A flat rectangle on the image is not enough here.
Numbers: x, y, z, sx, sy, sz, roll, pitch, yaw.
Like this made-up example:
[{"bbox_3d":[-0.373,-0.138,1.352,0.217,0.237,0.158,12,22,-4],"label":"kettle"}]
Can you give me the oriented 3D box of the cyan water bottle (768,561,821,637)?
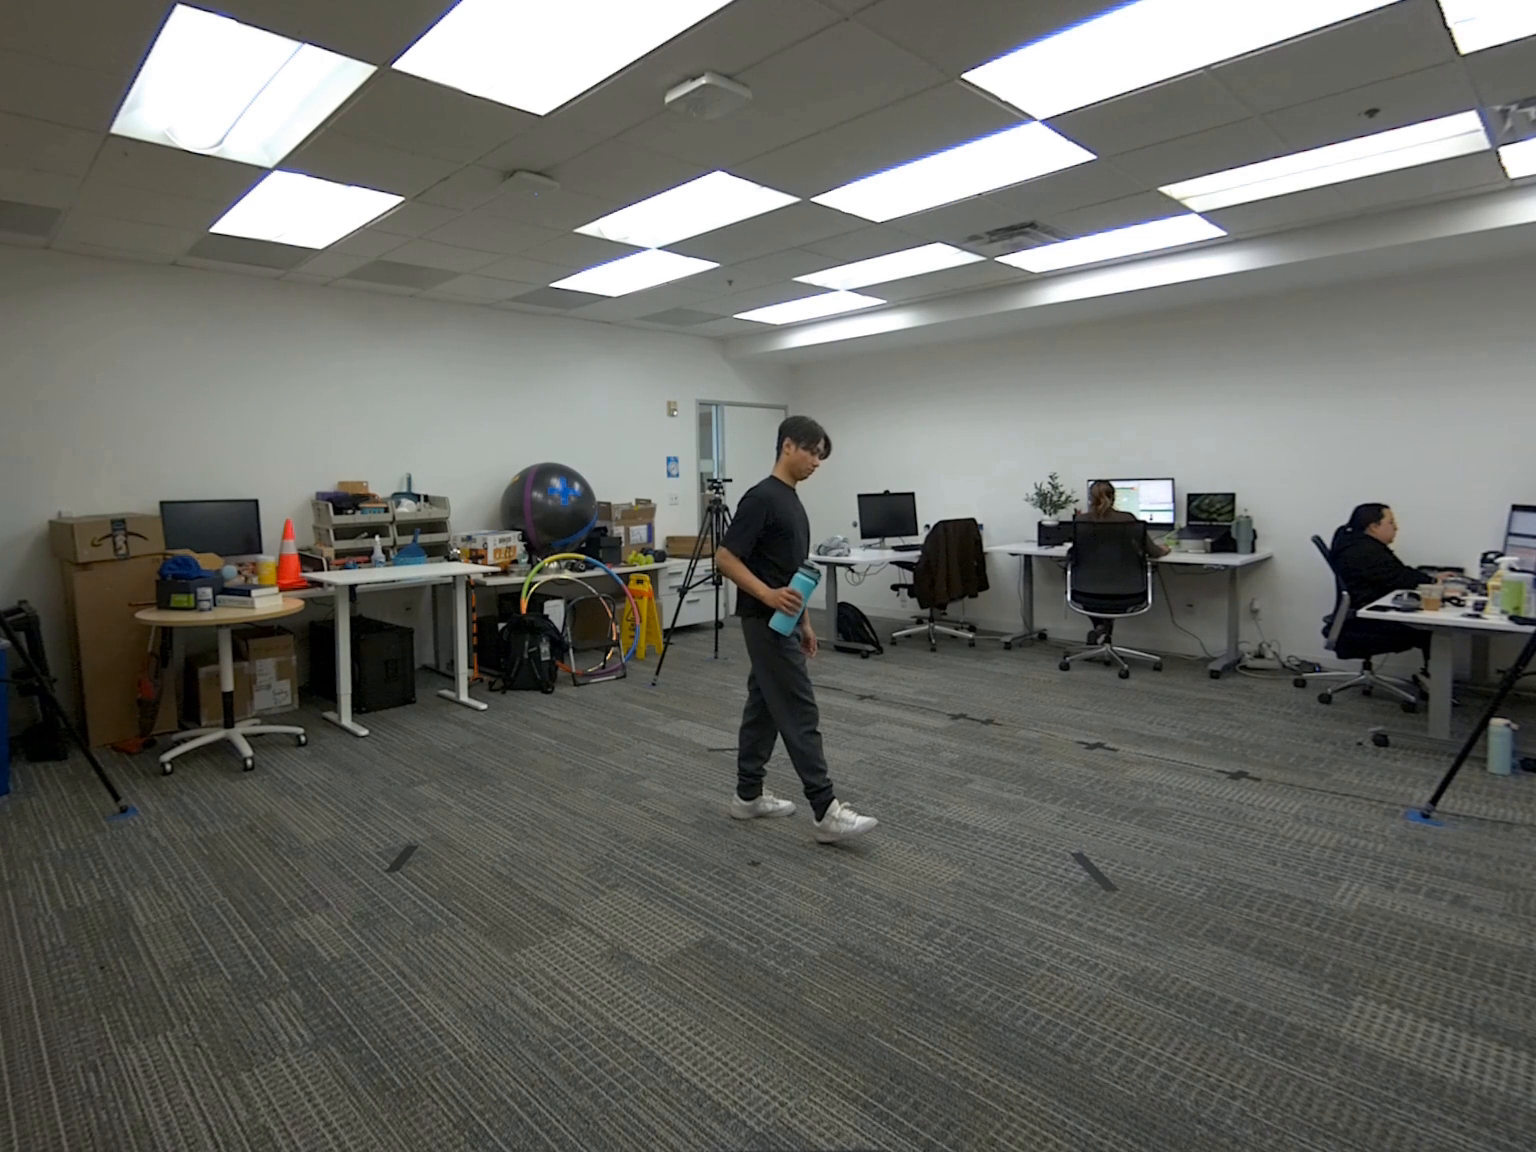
[{"bbox_3d":[0.117,0.083,3.186,0.092,0.283,0.092,26,0,-2],"label":"cyan water bottle"}]
